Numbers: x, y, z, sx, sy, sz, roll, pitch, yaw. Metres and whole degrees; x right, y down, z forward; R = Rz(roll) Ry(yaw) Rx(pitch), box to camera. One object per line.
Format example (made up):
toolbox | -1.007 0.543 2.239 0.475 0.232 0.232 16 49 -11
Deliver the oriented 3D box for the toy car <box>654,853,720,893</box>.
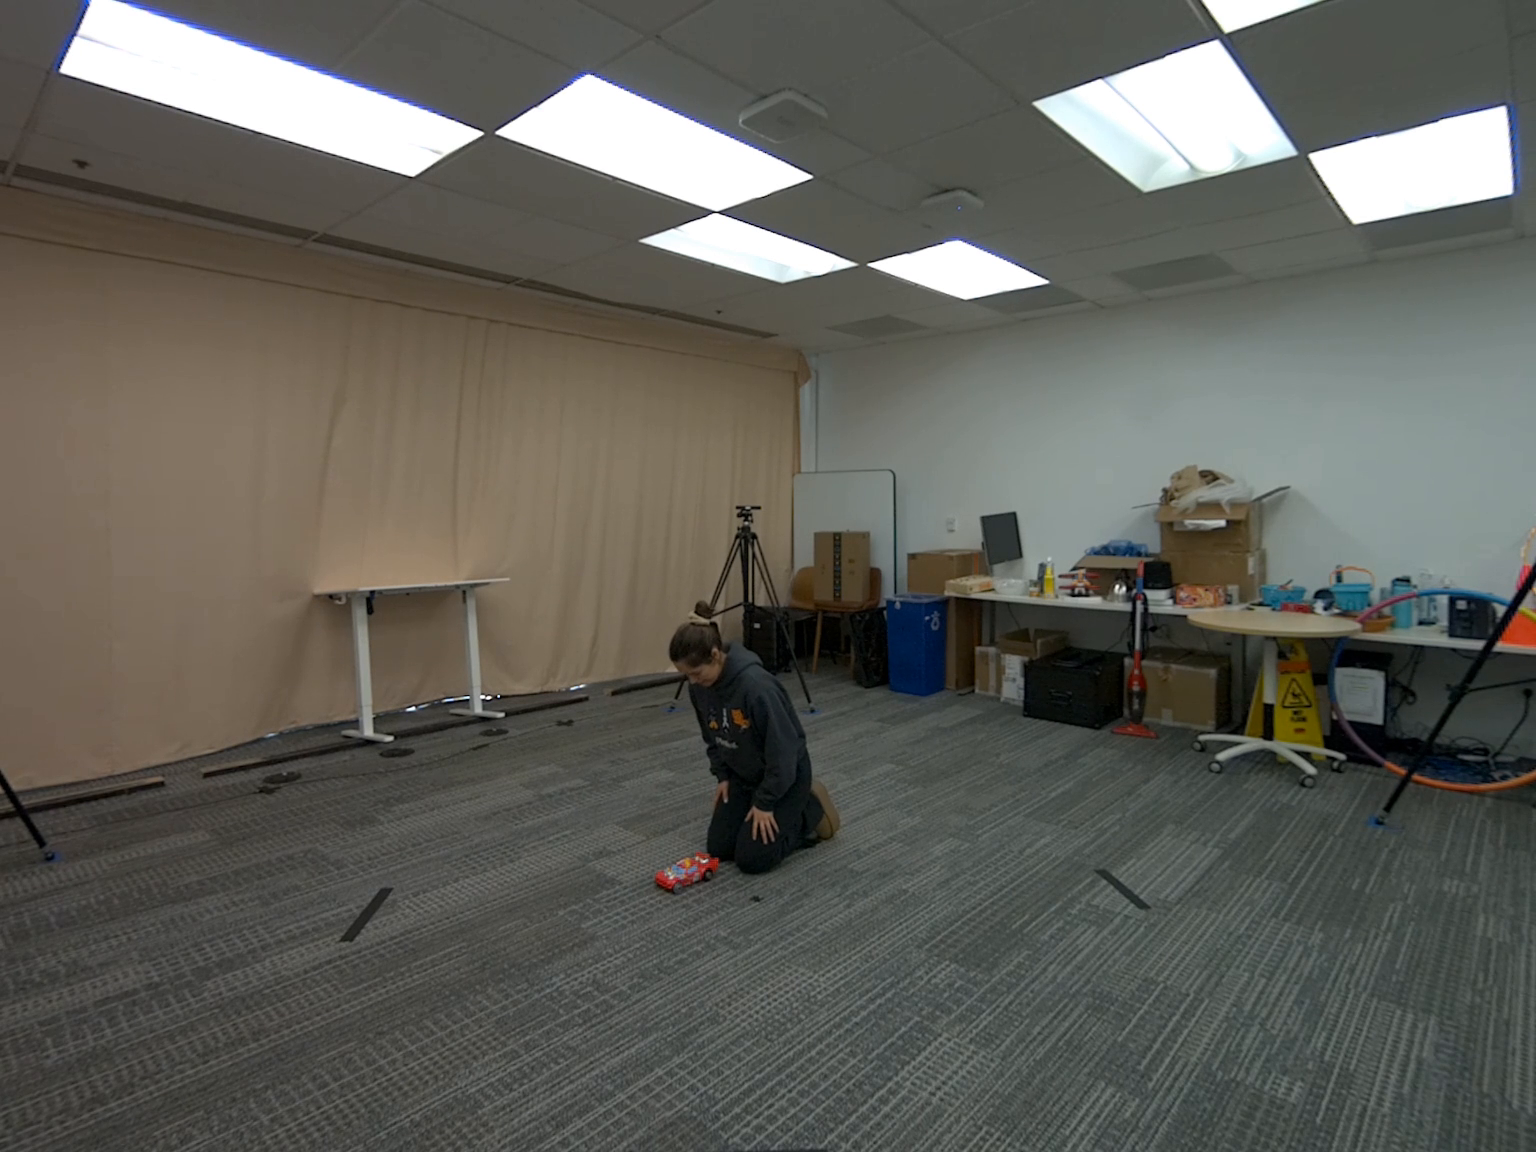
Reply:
toy car | -0.276 1.106 3.133 0.248 0.082 0.134 -20 16 -41
